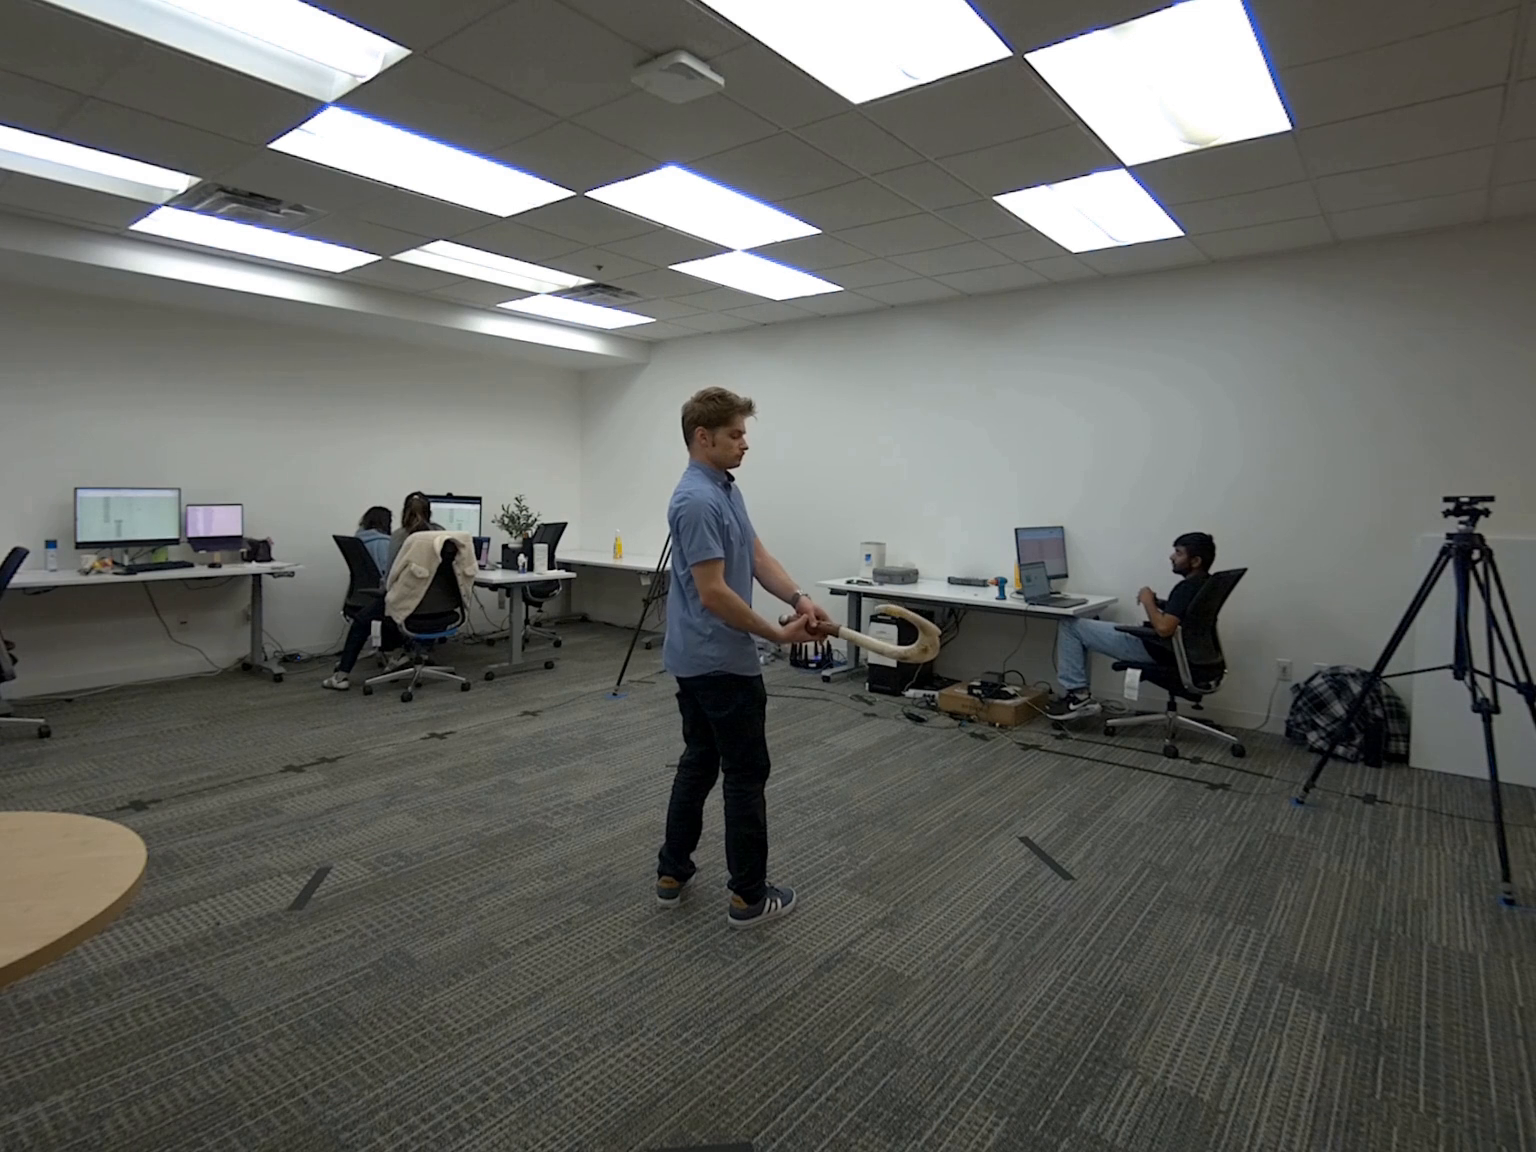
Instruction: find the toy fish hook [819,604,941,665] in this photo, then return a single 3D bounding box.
[{"bbox_3d":[0.269,0.154,2.615,0.520,0.218,0.048,9,35,24],"label":"toy fish hook"}]
